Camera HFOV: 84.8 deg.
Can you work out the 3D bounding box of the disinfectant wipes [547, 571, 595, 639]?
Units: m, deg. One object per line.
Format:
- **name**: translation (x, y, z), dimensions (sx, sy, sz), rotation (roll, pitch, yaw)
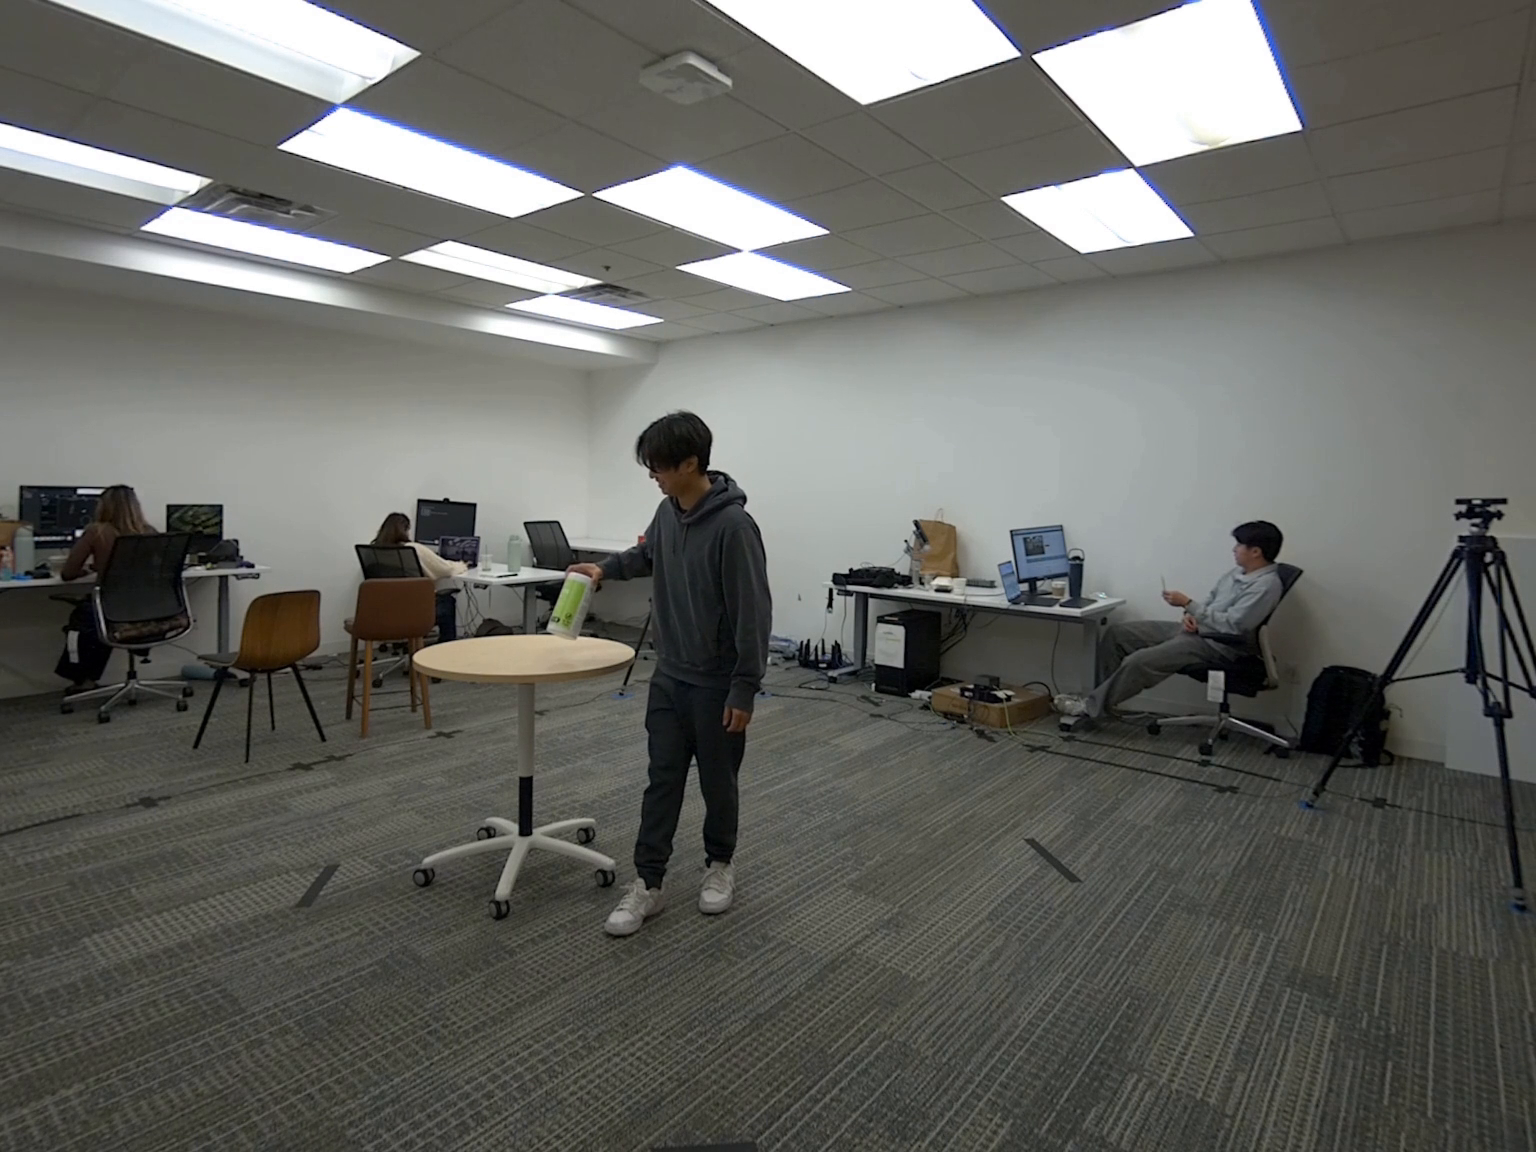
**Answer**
- **disinfectant wipes**: translation (-0.690, 0.104, 2.948), dimensions (0.118, 0.219, 0.116), rotation (17, -14, 2)
